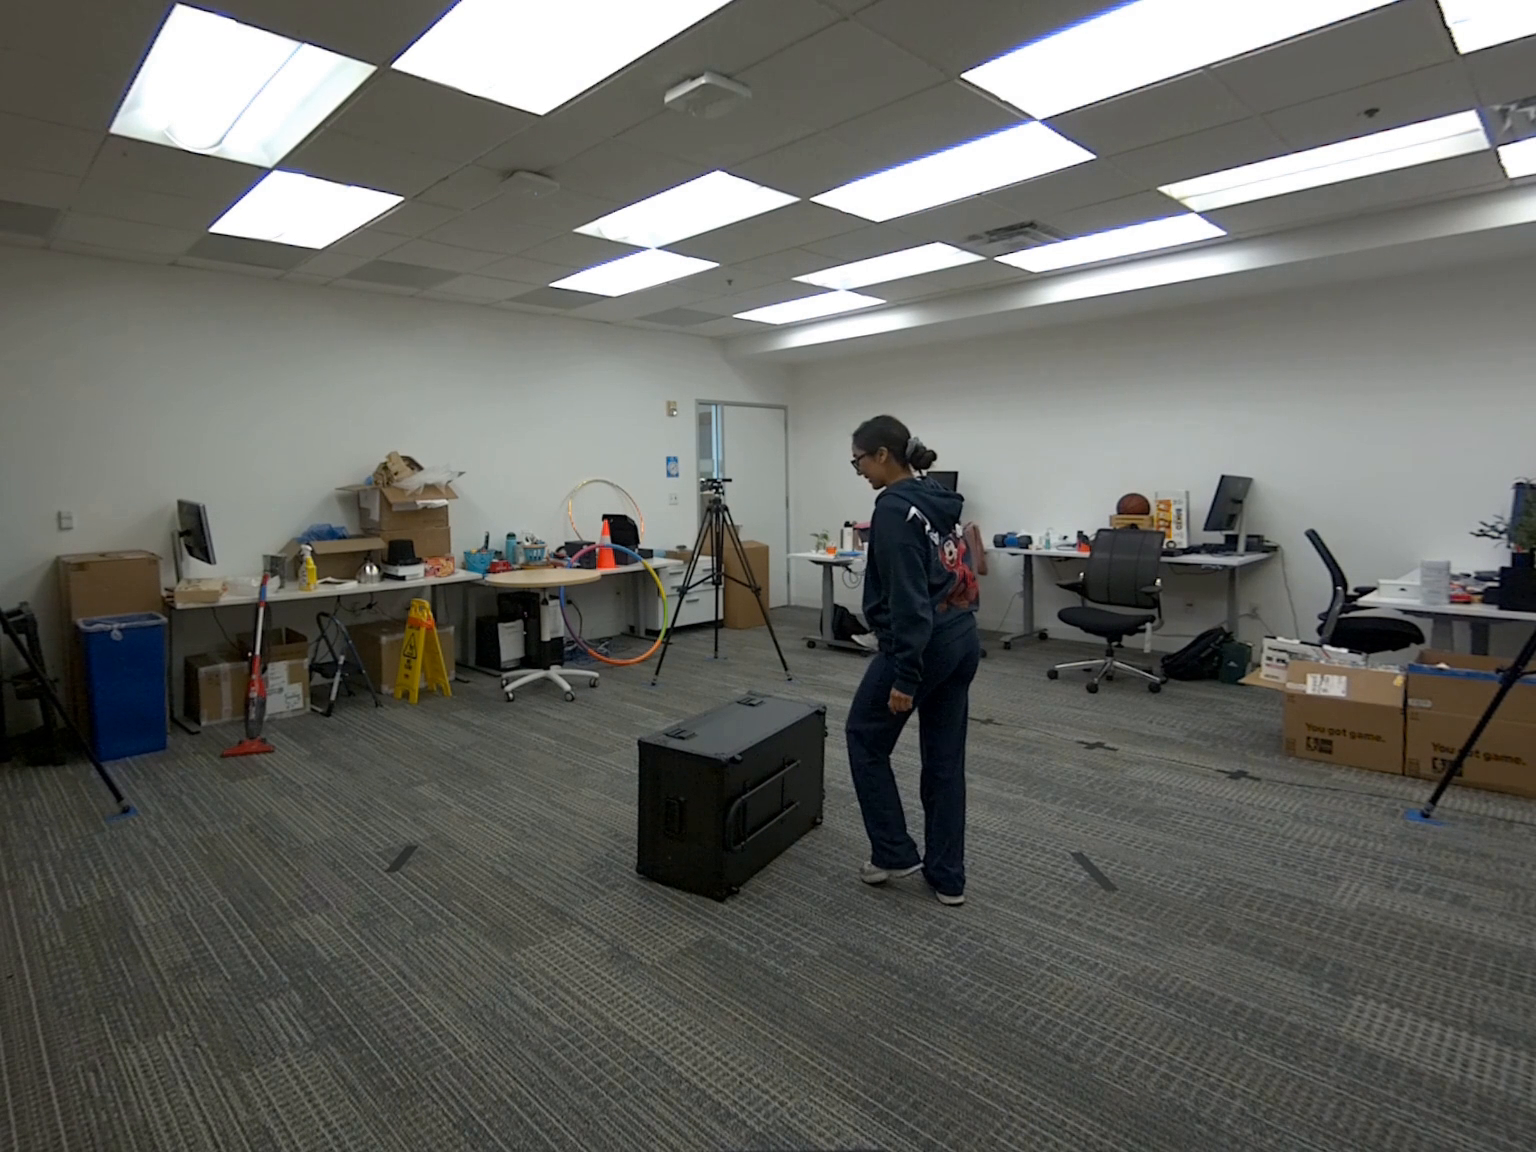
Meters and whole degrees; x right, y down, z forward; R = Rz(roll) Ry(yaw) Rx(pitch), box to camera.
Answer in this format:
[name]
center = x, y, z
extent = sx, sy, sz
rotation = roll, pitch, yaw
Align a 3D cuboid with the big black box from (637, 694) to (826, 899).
[big black box]
center = -0.085, 0.773, 3.237
extent = 0.407, 0.518, 0.843
rotation = 4, 8, 29
